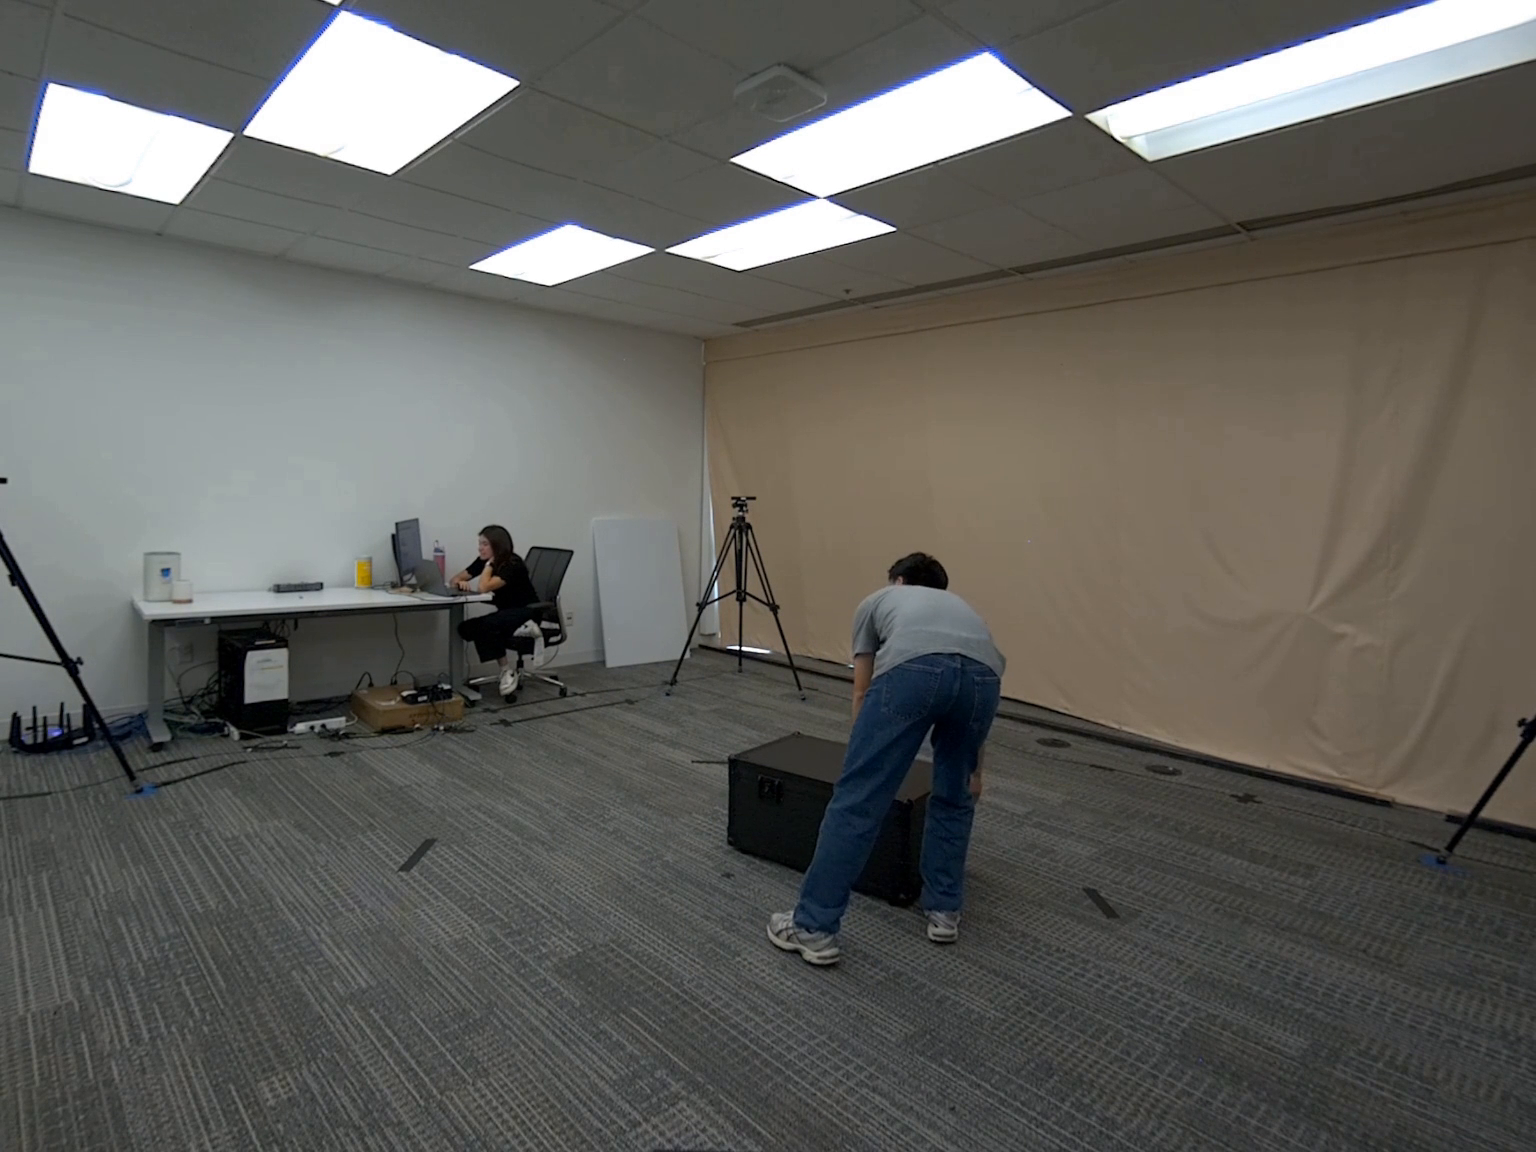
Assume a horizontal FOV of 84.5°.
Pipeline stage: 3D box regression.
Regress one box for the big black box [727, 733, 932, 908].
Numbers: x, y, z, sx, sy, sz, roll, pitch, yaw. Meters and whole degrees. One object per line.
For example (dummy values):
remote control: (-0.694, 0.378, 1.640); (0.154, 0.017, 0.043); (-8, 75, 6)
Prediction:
big black box: (0.267, 0.912, 3.294); (0.883, 0.395, 0.510); (6, 6, 37)
